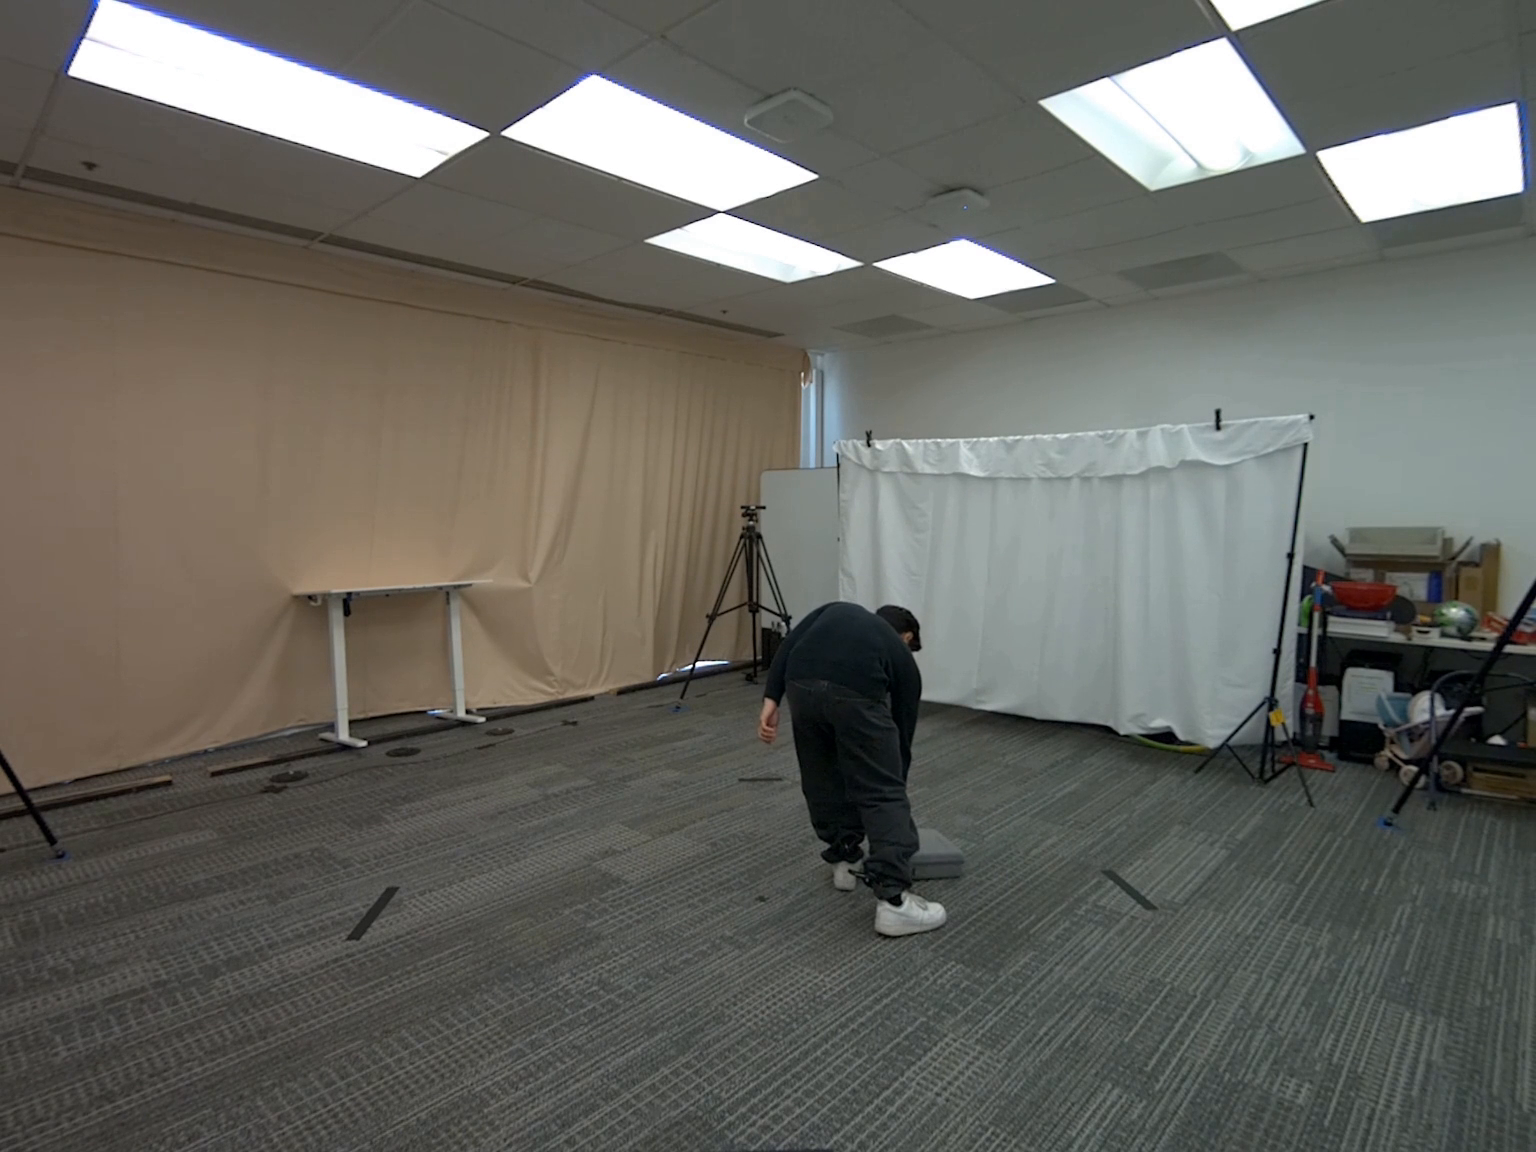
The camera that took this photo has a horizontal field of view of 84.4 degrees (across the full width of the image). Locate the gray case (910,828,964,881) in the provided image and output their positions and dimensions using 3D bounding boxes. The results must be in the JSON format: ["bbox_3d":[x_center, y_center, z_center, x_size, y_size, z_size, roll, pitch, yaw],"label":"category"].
[{"bbox_3d":[0.589,1.060,3.232,0.257,0.104,0.261,0,5,-13],"label":"gray case"}]
